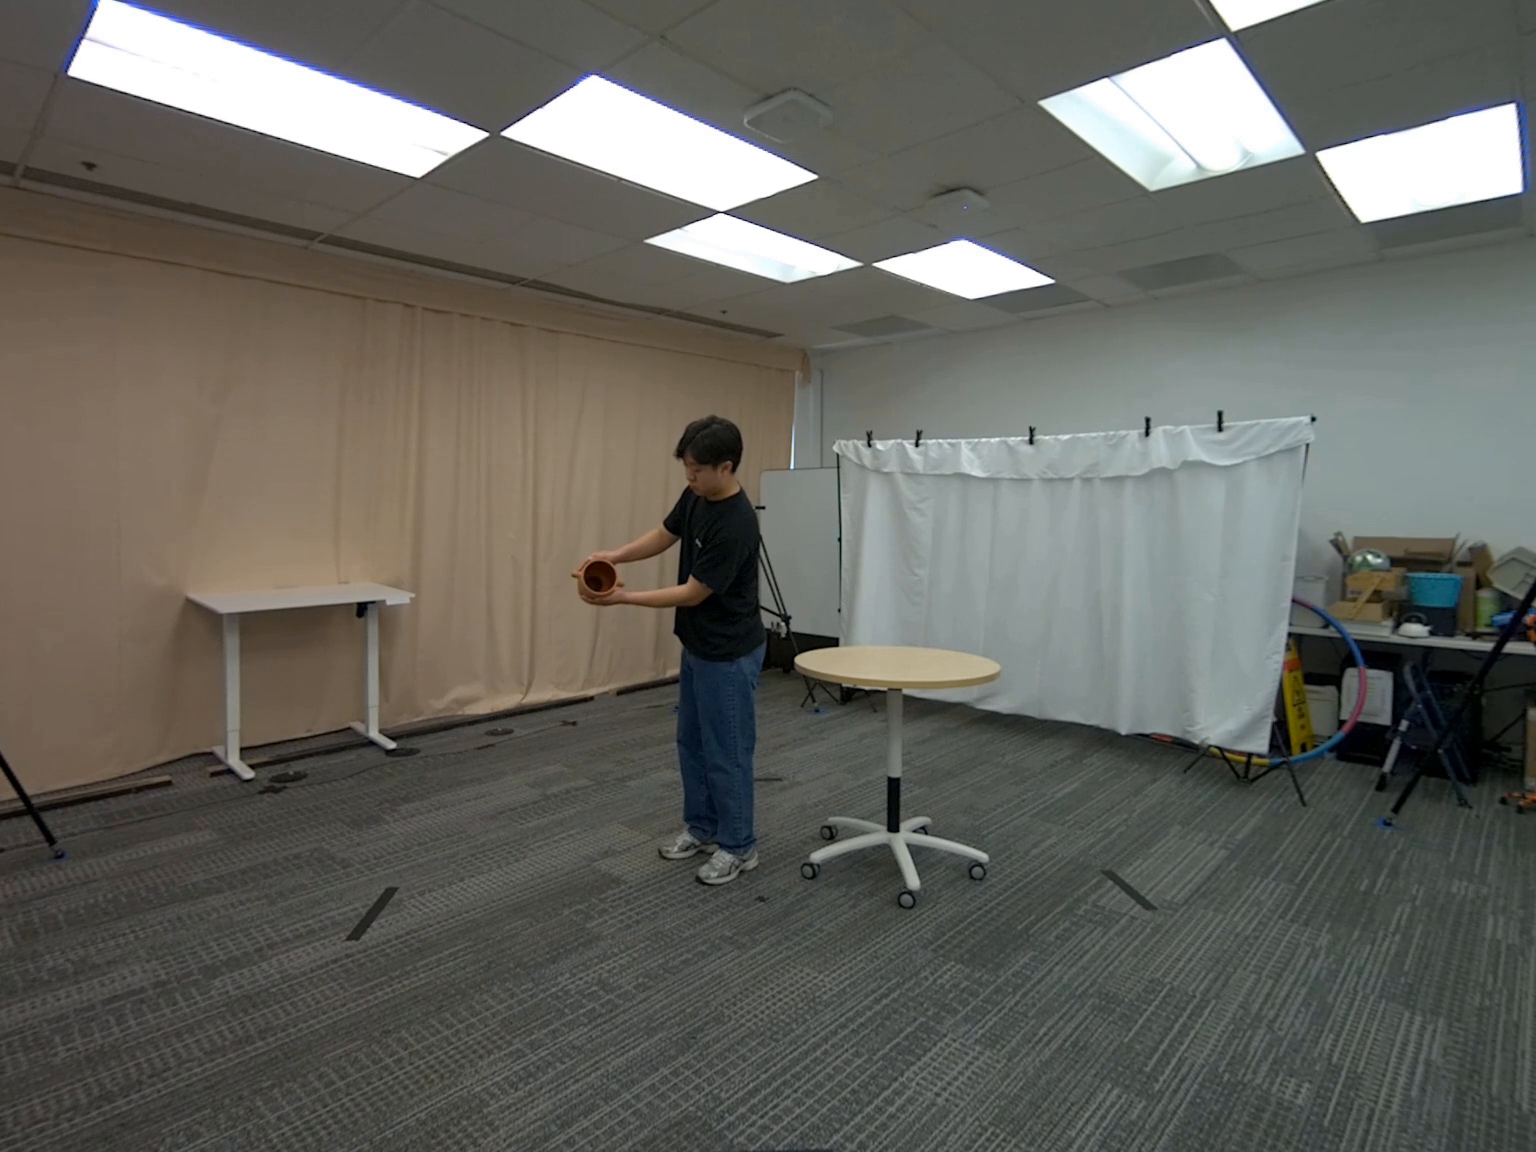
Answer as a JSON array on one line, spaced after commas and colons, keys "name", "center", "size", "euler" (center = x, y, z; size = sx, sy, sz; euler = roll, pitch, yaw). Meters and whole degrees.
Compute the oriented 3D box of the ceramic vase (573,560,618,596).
[{"name": "ceramic vase", "center": [-0.632, 0.029, 3.112], "size": [0.133, 0.158, 0.222], "euler": [-44, 5, -23]}]
